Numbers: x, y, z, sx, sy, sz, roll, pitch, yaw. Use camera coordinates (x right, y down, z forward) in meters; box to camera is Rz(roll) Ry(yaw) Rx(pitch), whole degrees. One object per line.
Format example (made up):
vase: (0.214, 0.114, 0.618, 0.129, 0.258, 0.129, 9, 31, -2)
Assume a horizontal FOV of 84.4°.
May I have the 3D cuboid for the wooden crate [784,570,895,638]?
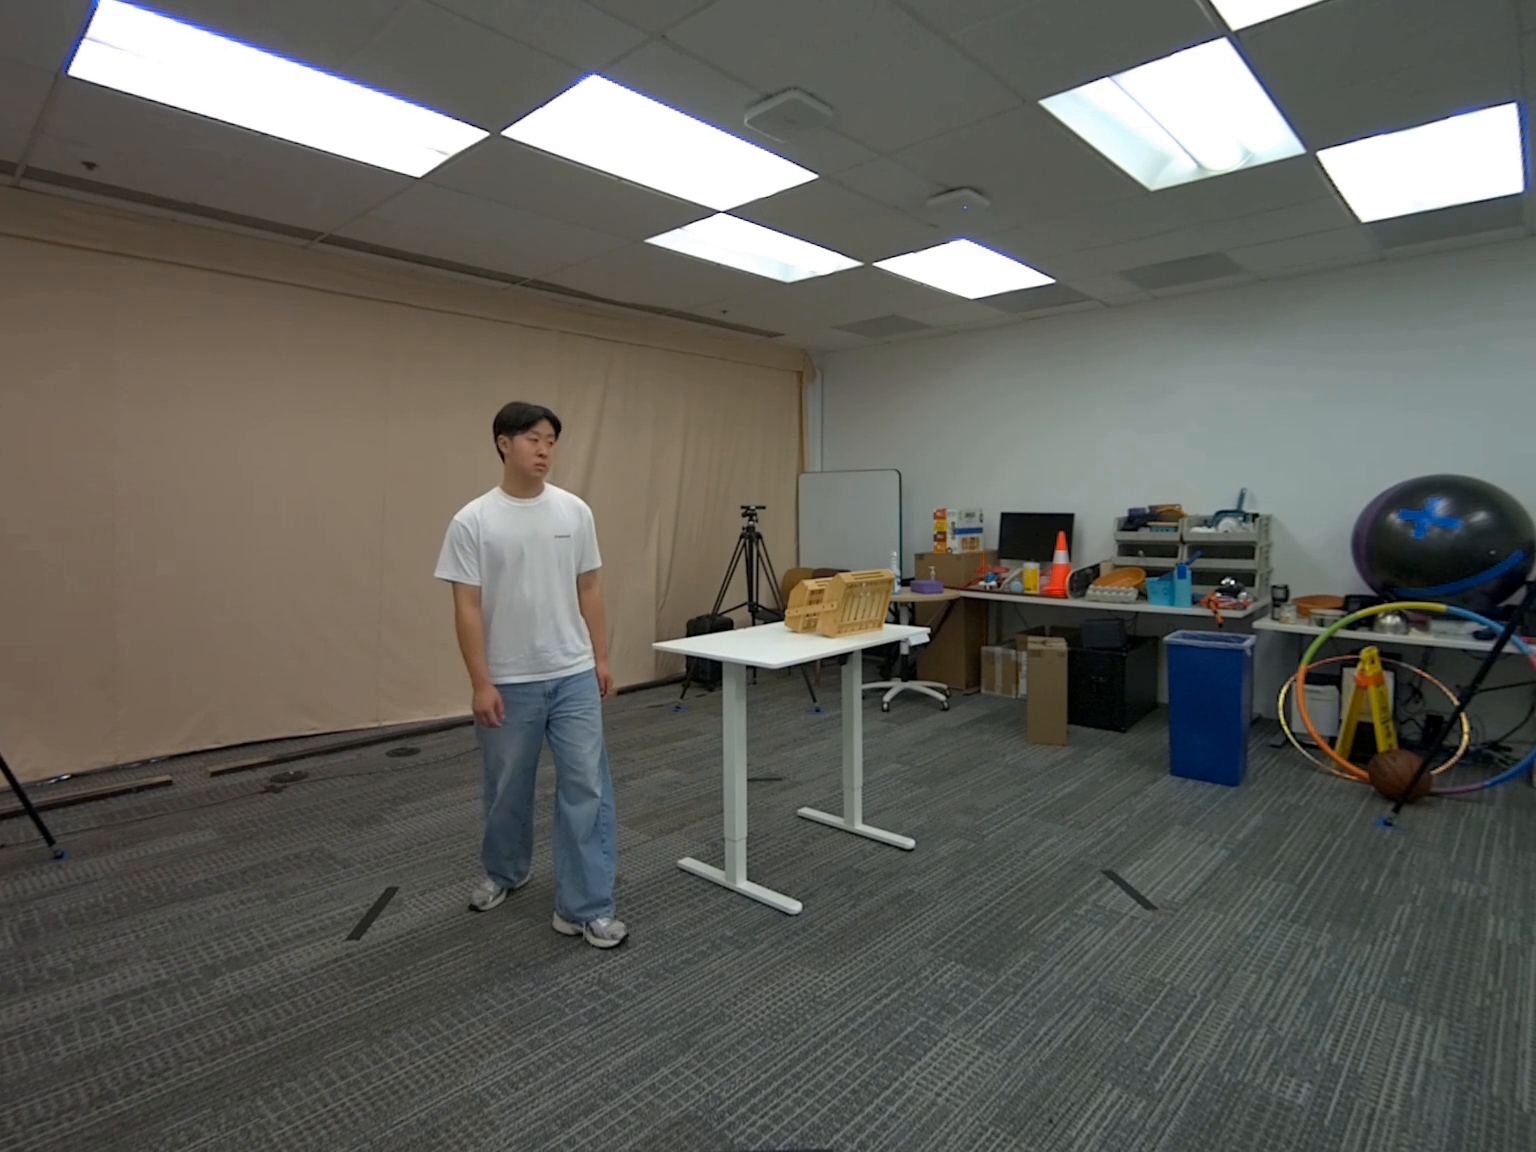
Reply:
wooden crate: (0.286, 0.093, 3.384, 0.314, 0.300, 0.283, -4, 21, -42)
